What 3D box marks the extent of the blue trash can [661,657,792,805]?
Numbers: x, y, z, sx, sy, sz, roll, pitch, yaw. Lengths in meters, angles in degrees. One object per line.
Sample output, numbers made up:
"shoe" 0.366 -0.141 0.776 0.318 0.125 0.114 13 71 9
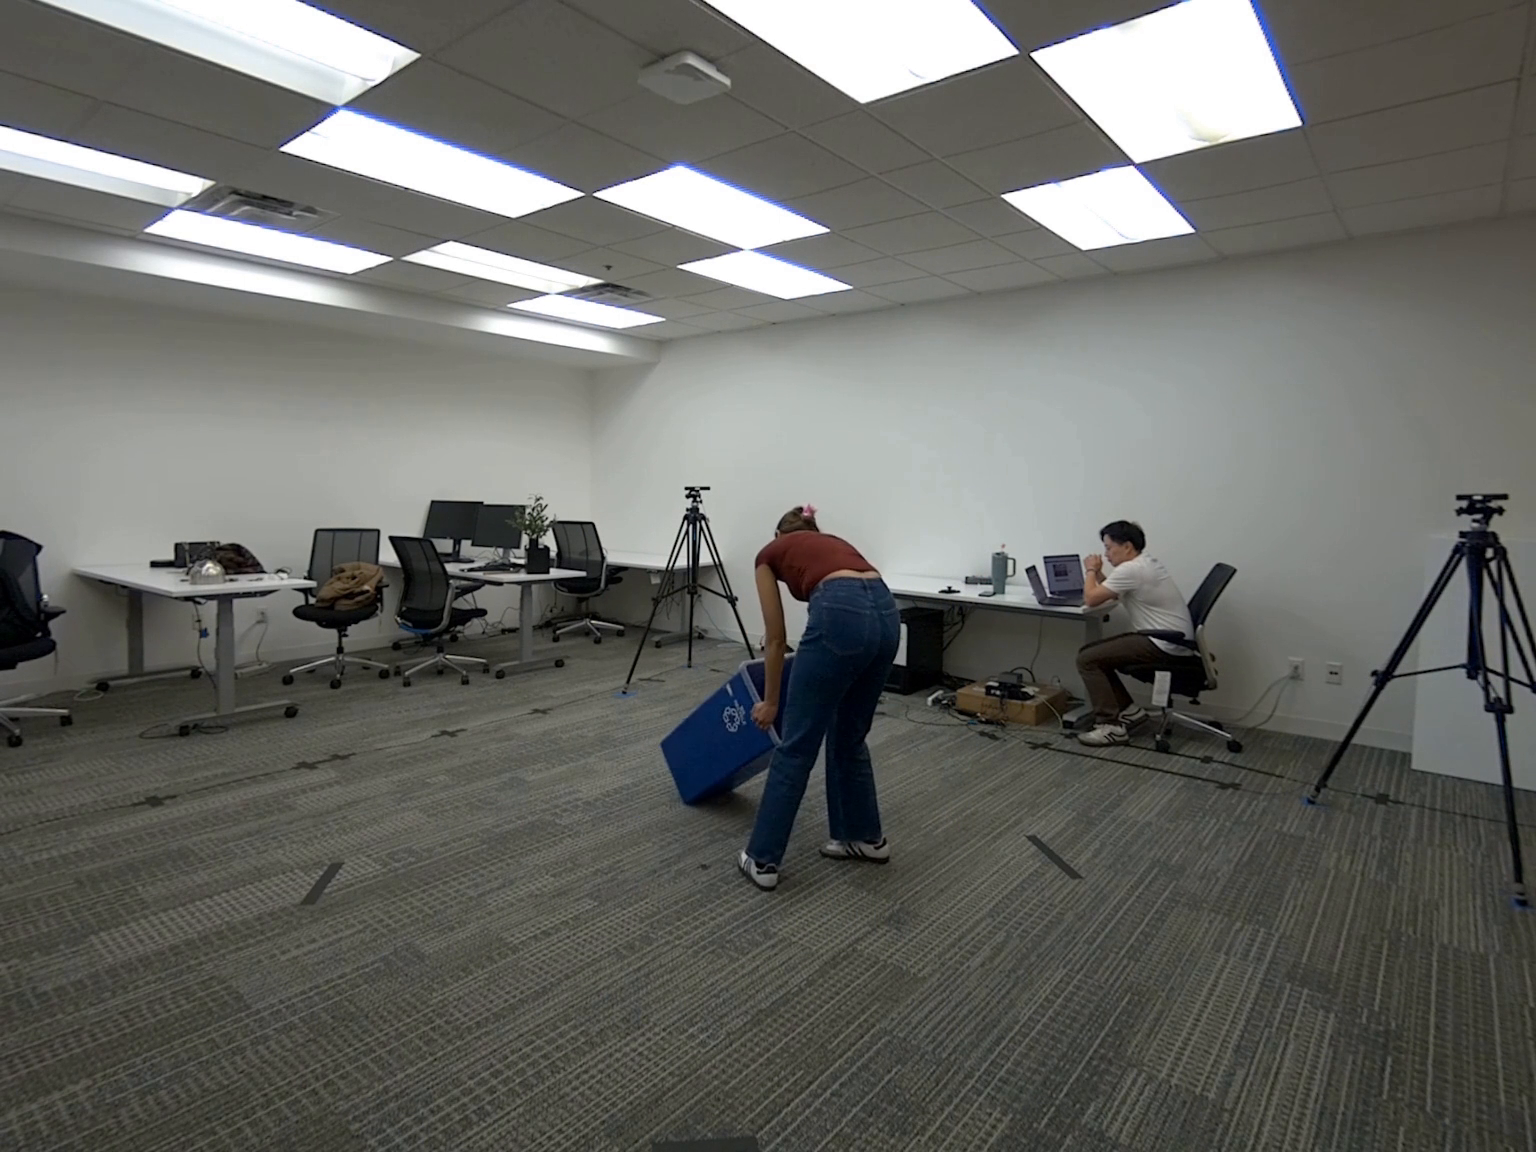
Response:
"blue trash can" -0.113 0.678 3.649 0.367 0.385 0.714 -3 -32 -45
